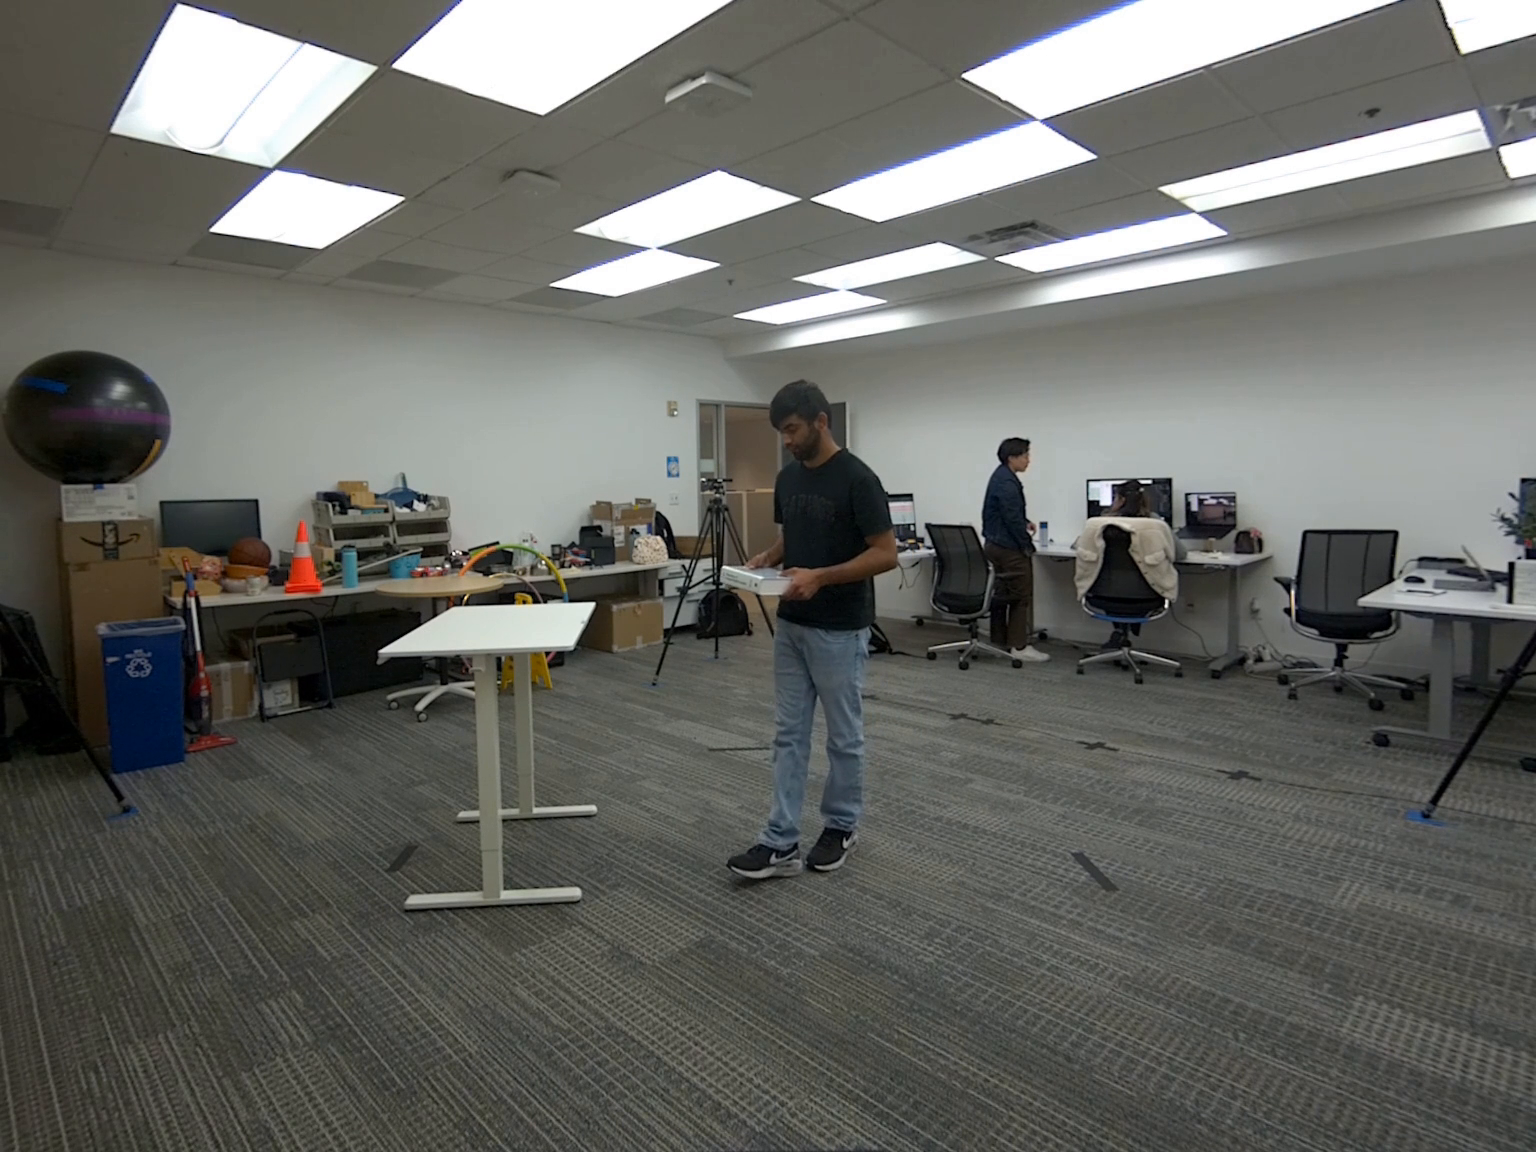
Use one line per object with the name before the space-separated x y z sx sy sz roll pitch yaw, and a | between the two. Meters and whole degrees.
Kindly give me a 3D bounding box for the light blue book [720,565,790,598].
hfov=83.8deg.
light blue book | -0.018 0.015 2.907 0.187 0.059 0.268 1 7 -26
